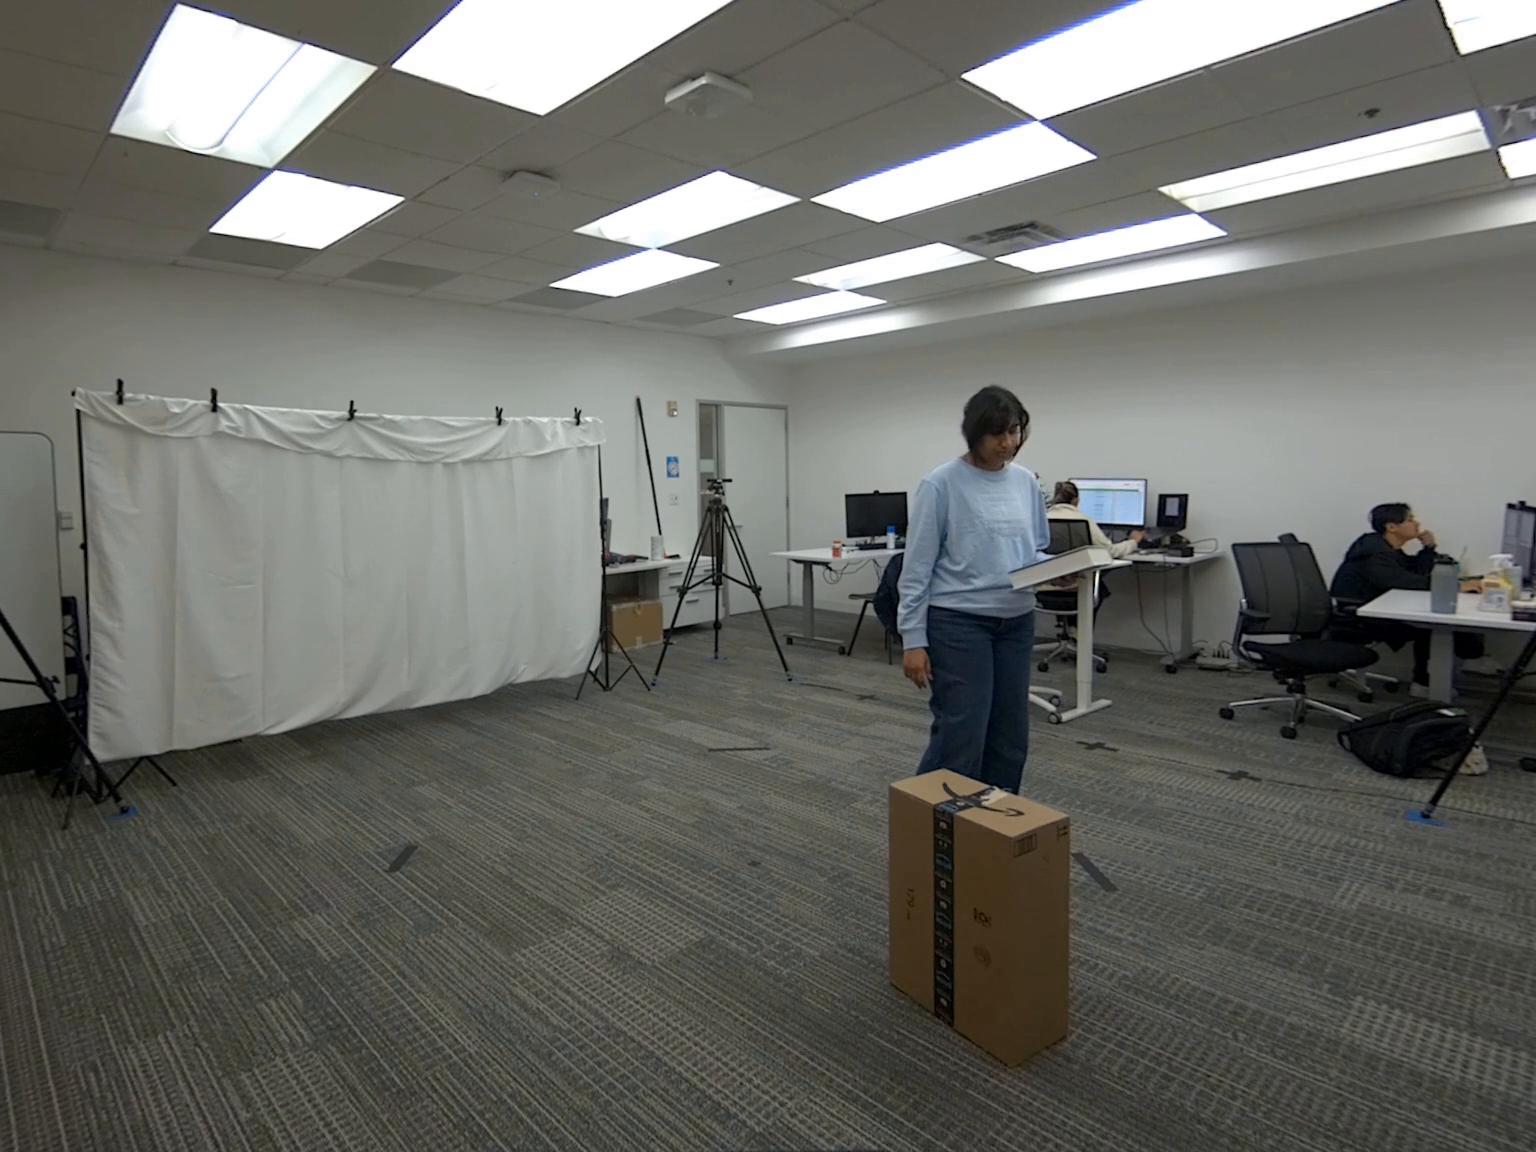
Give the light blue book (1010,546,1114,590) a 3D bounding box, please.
[{"bbox_3d":[0.905,-0.025,2.664,0.265,0.060,0.186,-22,-12,38],"label":"light blue book"}]
